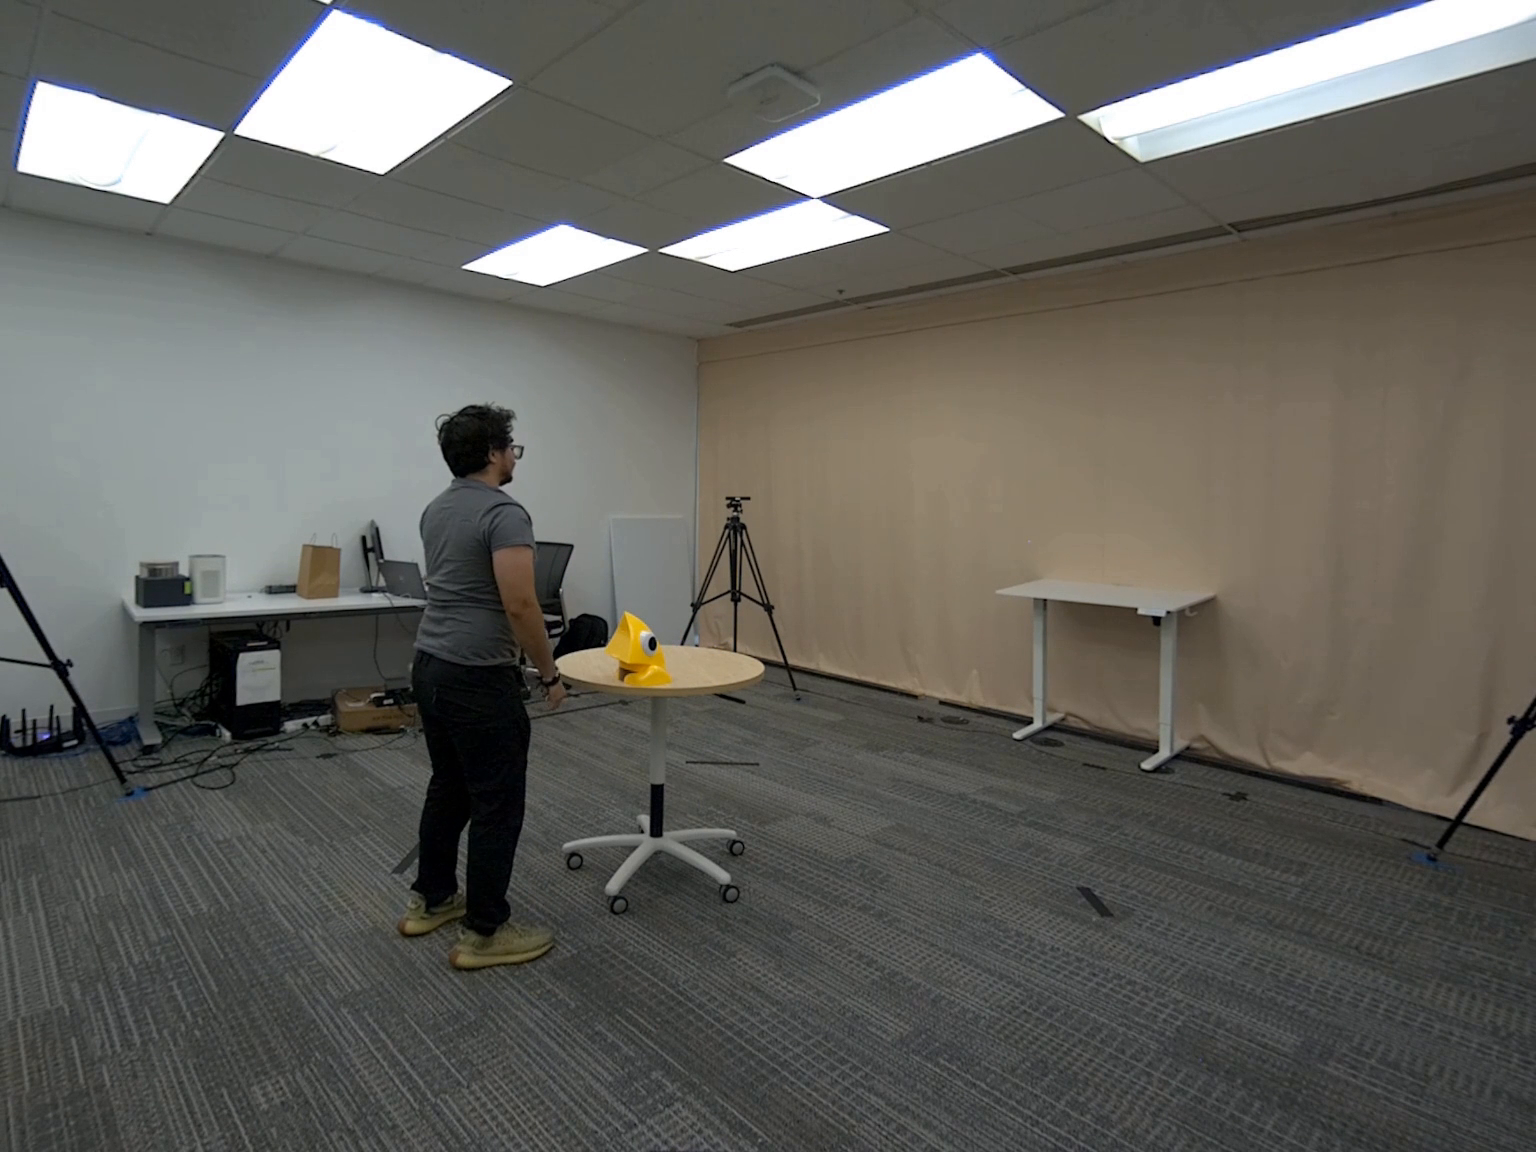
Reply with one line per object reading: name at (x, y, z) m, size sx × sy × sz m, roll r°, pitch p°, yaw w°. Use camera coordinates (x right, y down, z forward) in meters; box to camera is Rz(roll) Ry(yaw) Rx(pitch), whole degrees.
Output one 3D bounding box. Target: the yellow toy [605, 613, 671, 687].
yellow toy at (-0.436, 0.233, 2.811) m, size 0.189 × 0.230 × 0.209 m, roll -1°, pitch 5°, yaw -31°
